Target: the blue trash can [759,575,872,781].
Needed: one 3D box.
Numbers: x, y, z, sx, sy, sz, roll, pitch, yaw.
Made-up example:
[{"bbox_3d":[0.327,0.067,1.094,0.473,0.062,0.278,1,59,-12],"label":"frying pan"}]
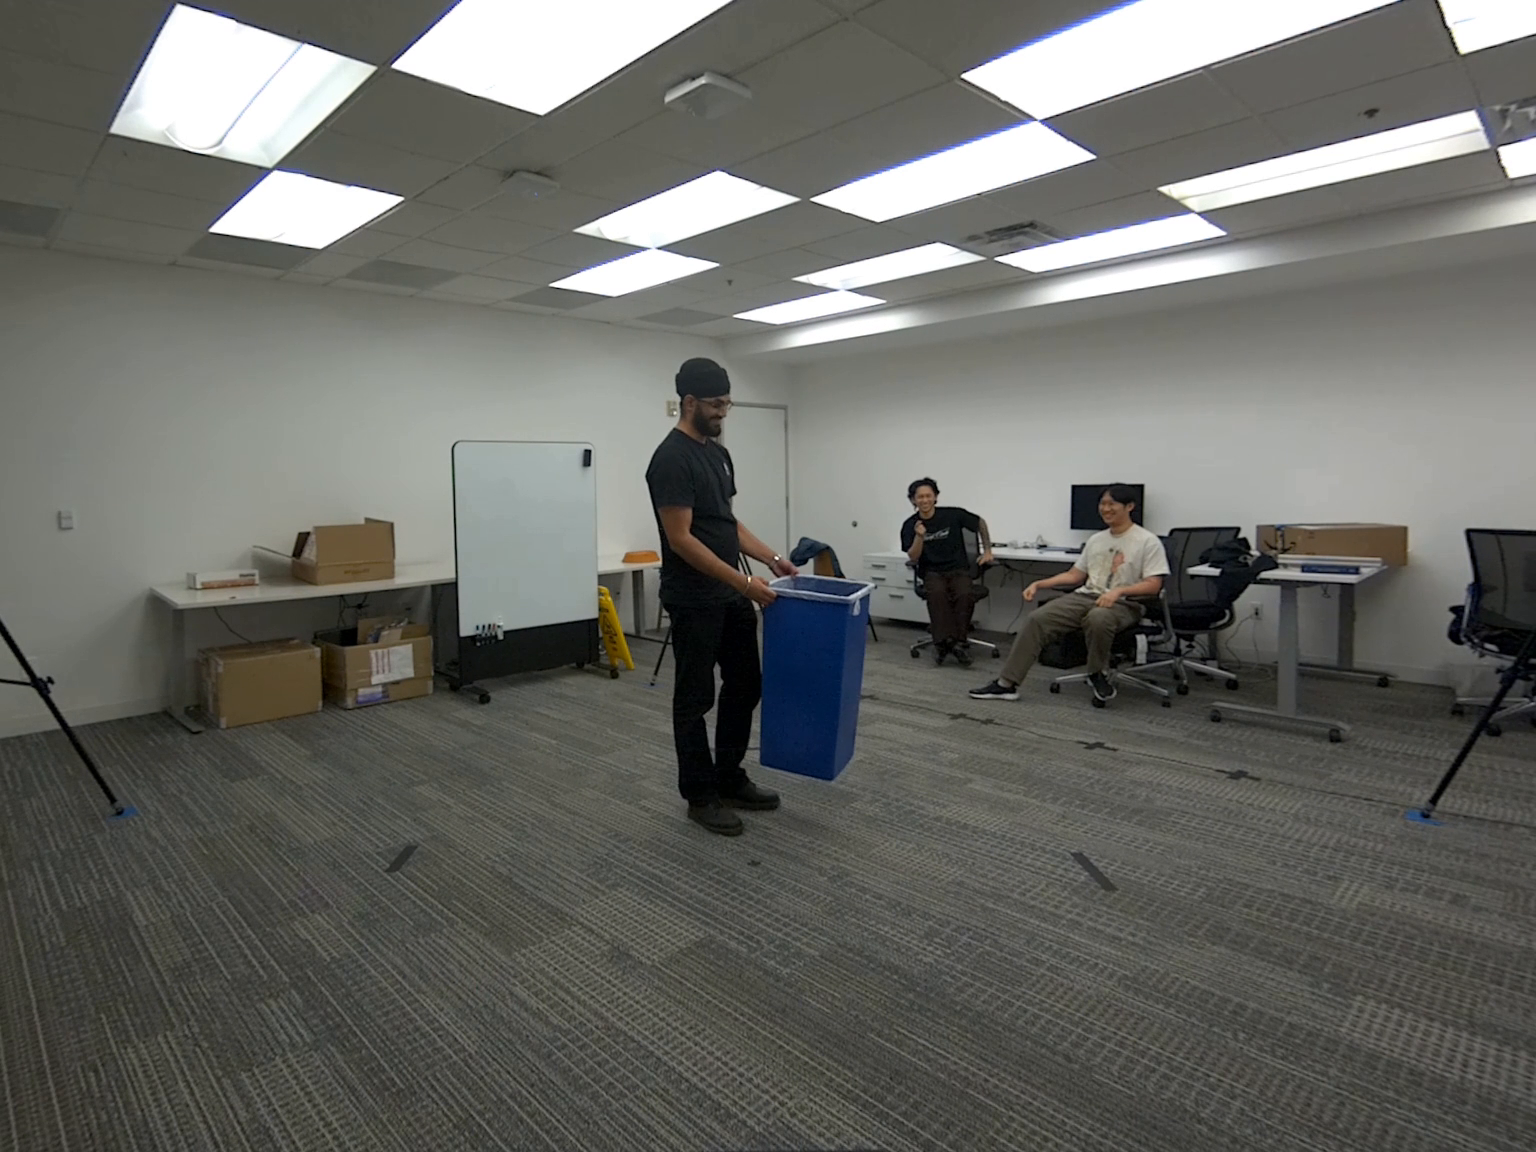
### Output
[{"bbox_3d":[0.173,0.390,3.368,0.383,0.708,0.372,7,9,23],"label":"blue trash can"}]
